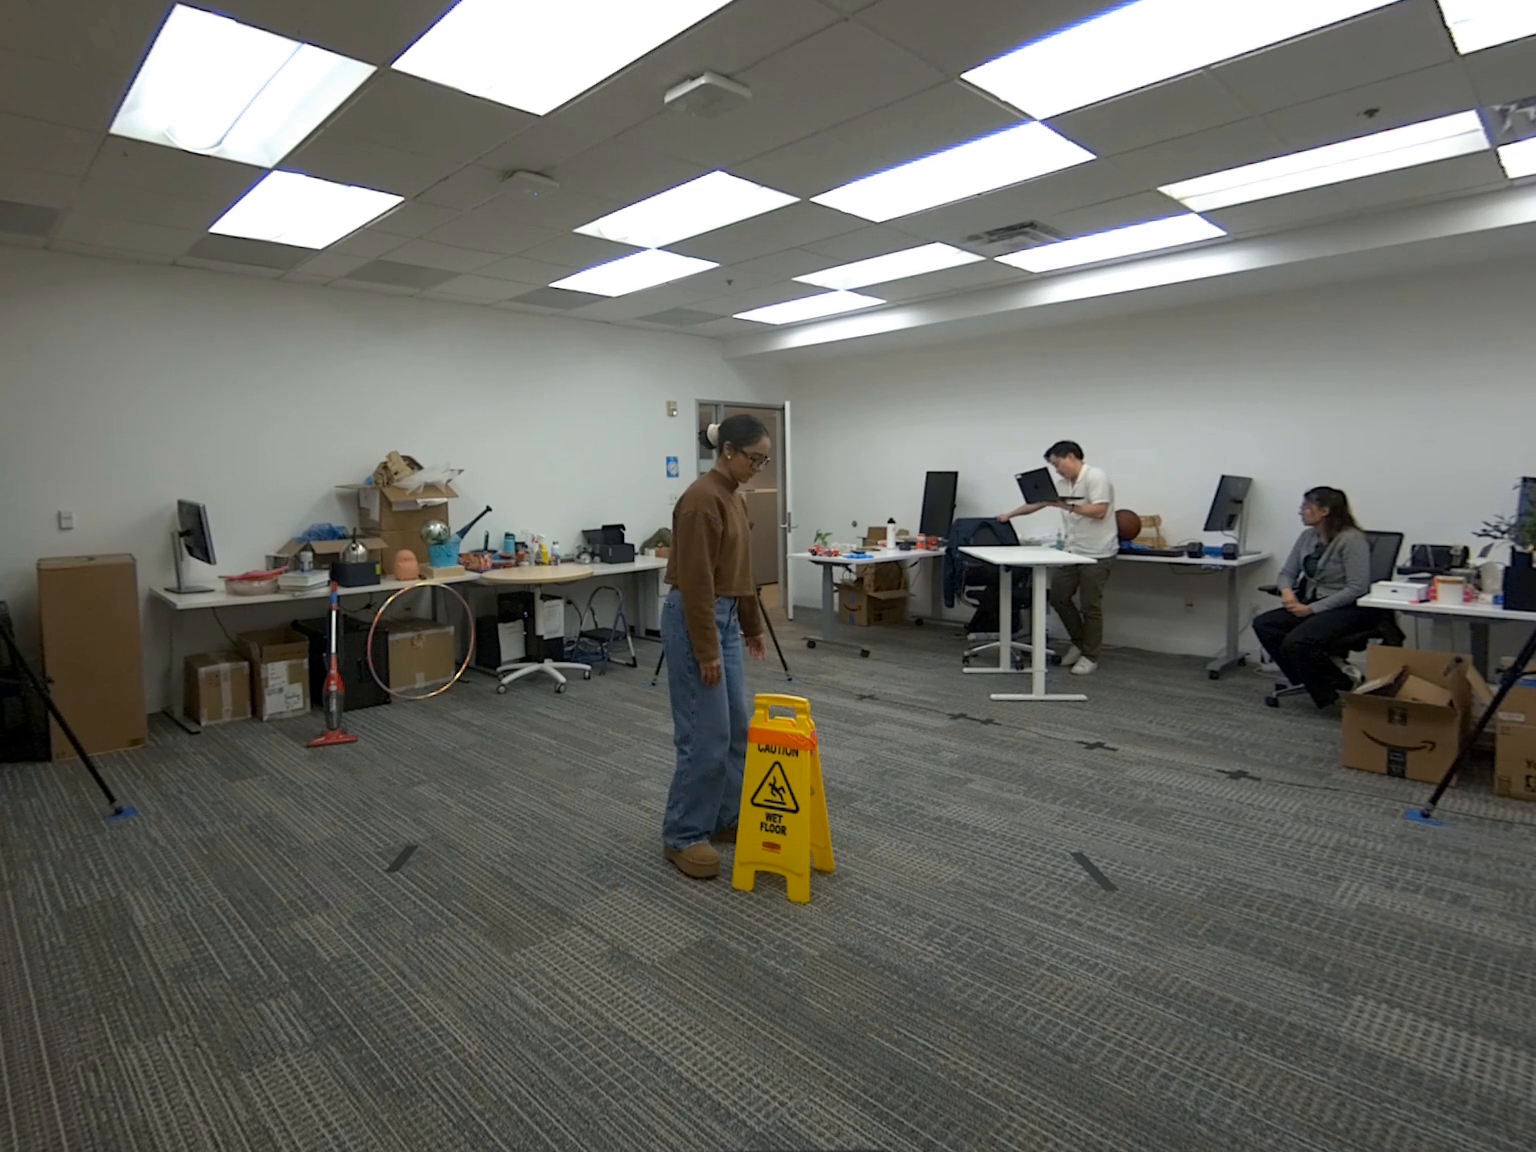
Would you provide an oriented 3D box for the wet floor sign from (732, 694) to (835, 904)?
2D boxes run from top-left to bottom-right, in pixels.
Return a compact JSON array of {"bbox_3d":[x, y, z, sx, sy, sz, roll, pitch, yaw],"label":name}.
[{"bbox_3d":[0.056,0.736,2.955,0.289,0.644,0.284,0,4,25],"label":"wet floor sign"}]
